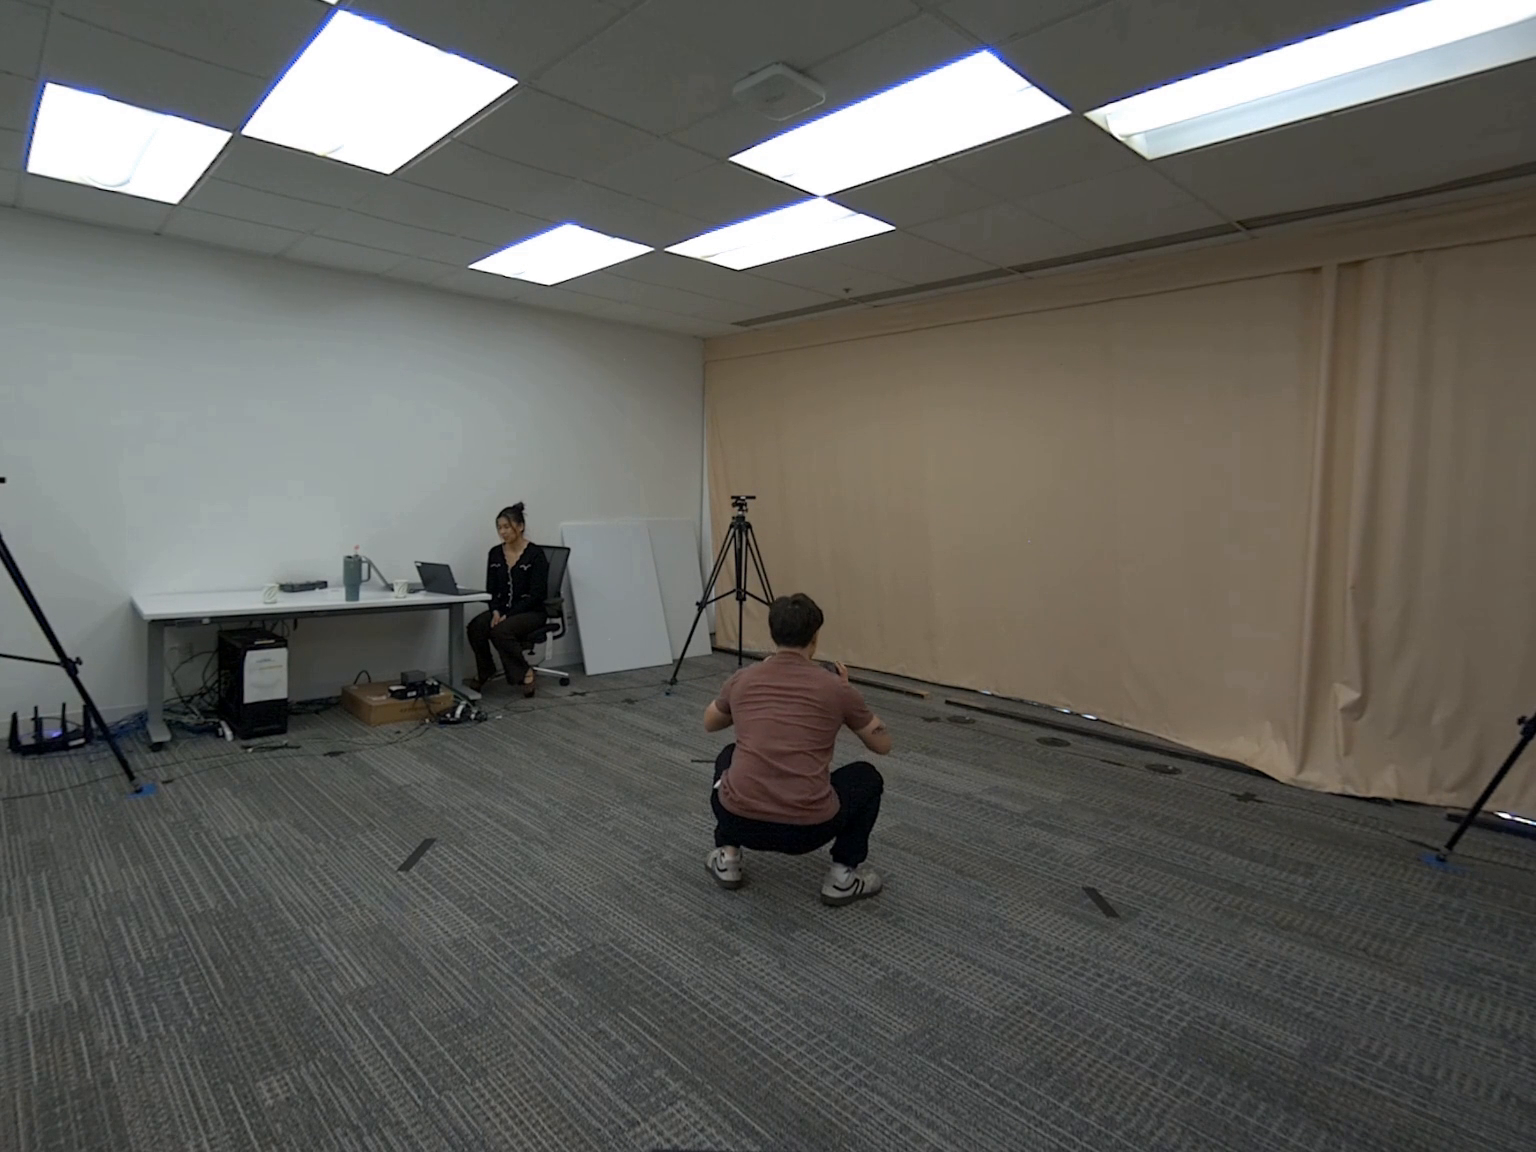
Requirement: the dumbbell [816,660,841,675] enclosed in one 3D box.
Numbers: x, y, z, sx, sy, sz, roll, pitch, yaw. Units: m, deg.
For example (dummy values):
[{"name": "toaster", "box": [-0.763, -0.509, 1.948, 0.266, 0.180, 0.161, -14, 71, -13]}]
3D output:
[{"name": "dumbbell", "box": [0.148, 0.377, 3.257, 0.297, 0.106, 0.125, -2, 44, 16]}]
